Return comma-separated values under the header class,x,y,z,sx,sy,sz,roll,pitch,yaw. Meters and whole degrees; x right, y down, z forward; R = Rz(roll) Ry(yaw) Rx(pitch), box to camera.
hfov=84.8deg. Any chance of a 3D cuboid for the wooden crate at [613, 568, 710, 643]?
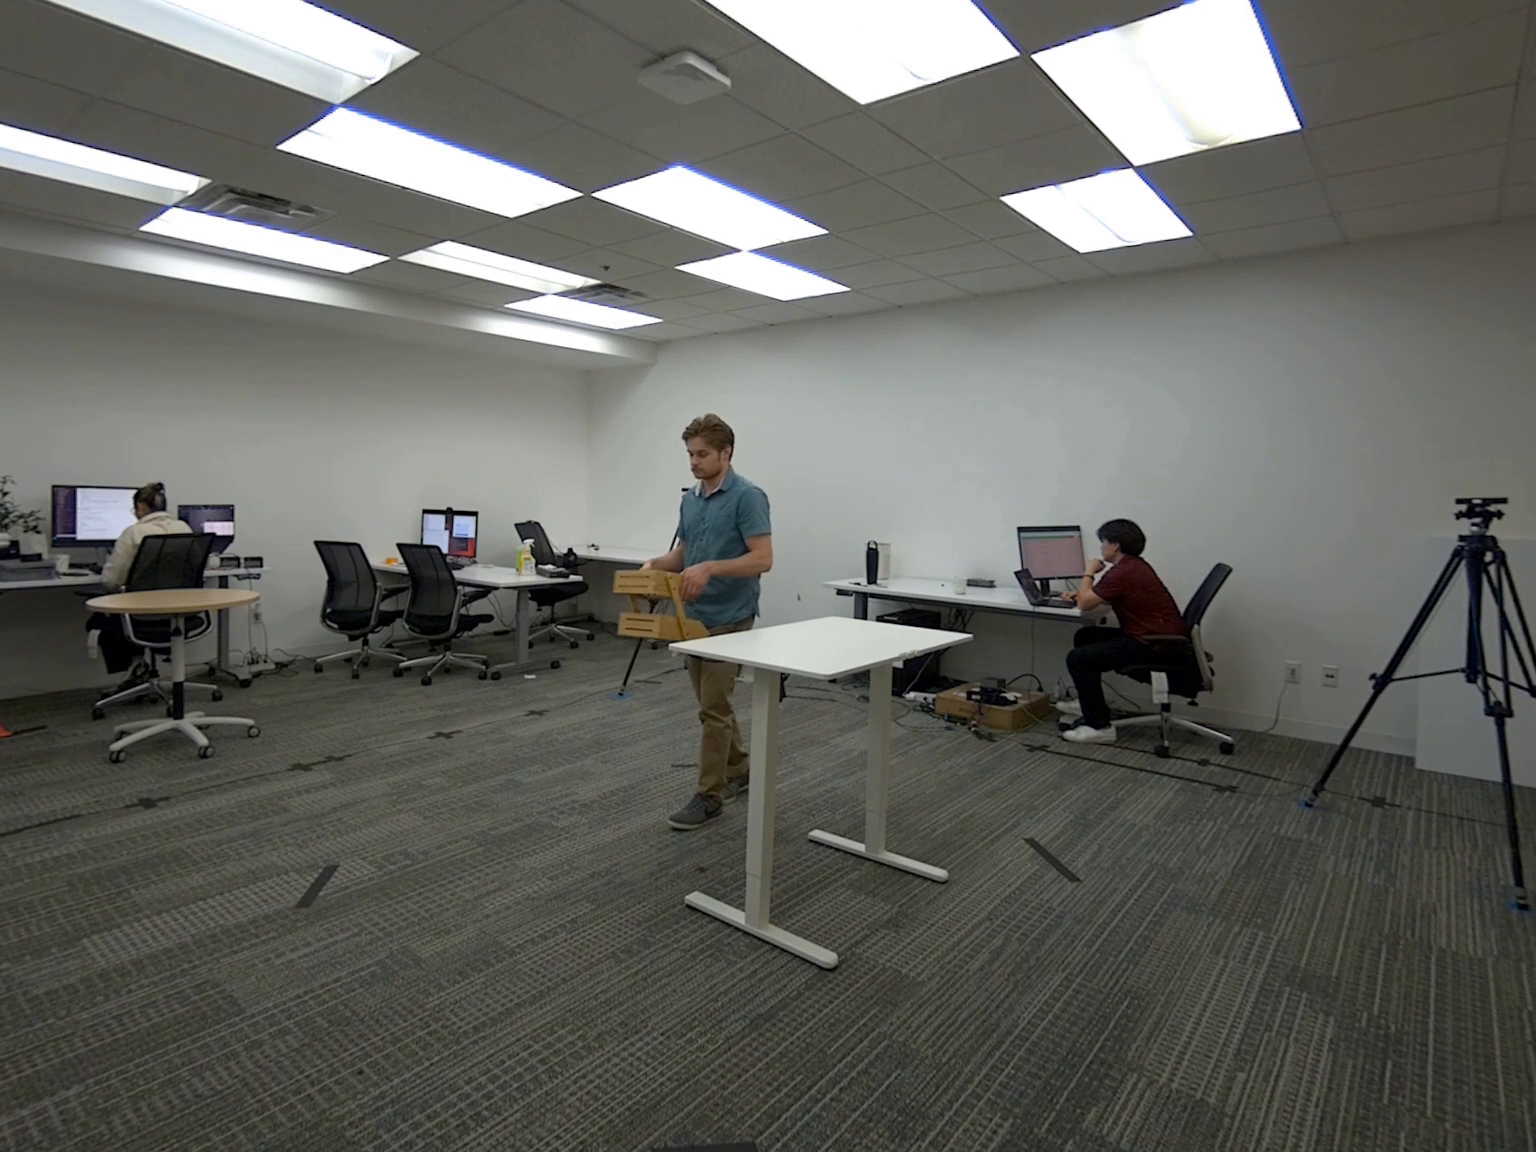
class,x,y,z,sx,sy,sz,roll,pitch,yaw
wooden crate,-0.441,0.118,3.477,0.291,0.275,0.334,11,-8,-40
